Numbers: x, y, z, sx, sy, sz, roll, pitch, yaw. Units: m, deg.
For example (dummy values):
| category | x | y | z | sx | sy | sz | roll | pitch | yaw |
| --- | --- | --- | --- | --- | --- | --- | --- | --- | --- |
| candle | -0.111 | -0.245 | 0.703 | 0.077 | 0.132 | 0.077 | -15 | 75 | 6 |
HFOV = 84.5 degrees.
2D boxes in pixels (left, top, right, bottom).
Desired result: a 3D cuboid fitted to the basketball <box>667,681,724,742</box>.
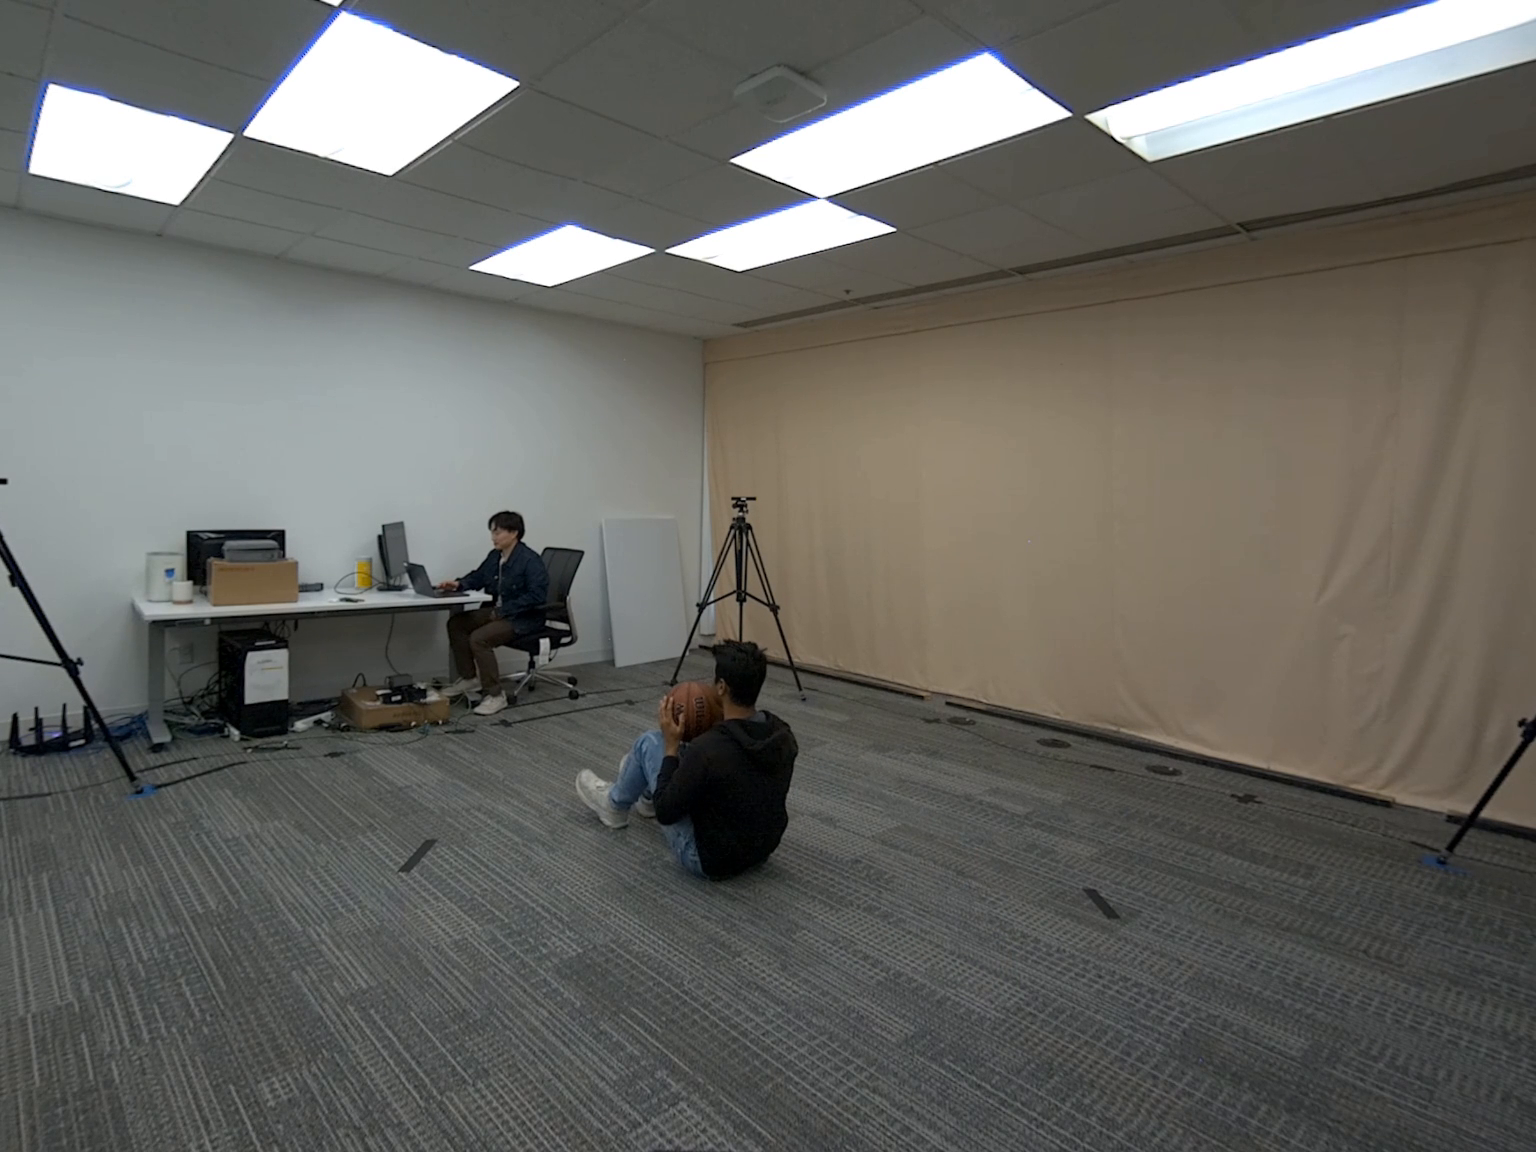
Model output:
| category | x | y | z | sx | sy | sz | roll | pitch | yaw |
| --- | --- | --- | --- | --- | --- | --- | --- | --- | --- |
| basketball | -0.293 | 0.523 | 3.270 | 0.236 | 0.235 | 0.237 | 1 | 4 | -1 |
